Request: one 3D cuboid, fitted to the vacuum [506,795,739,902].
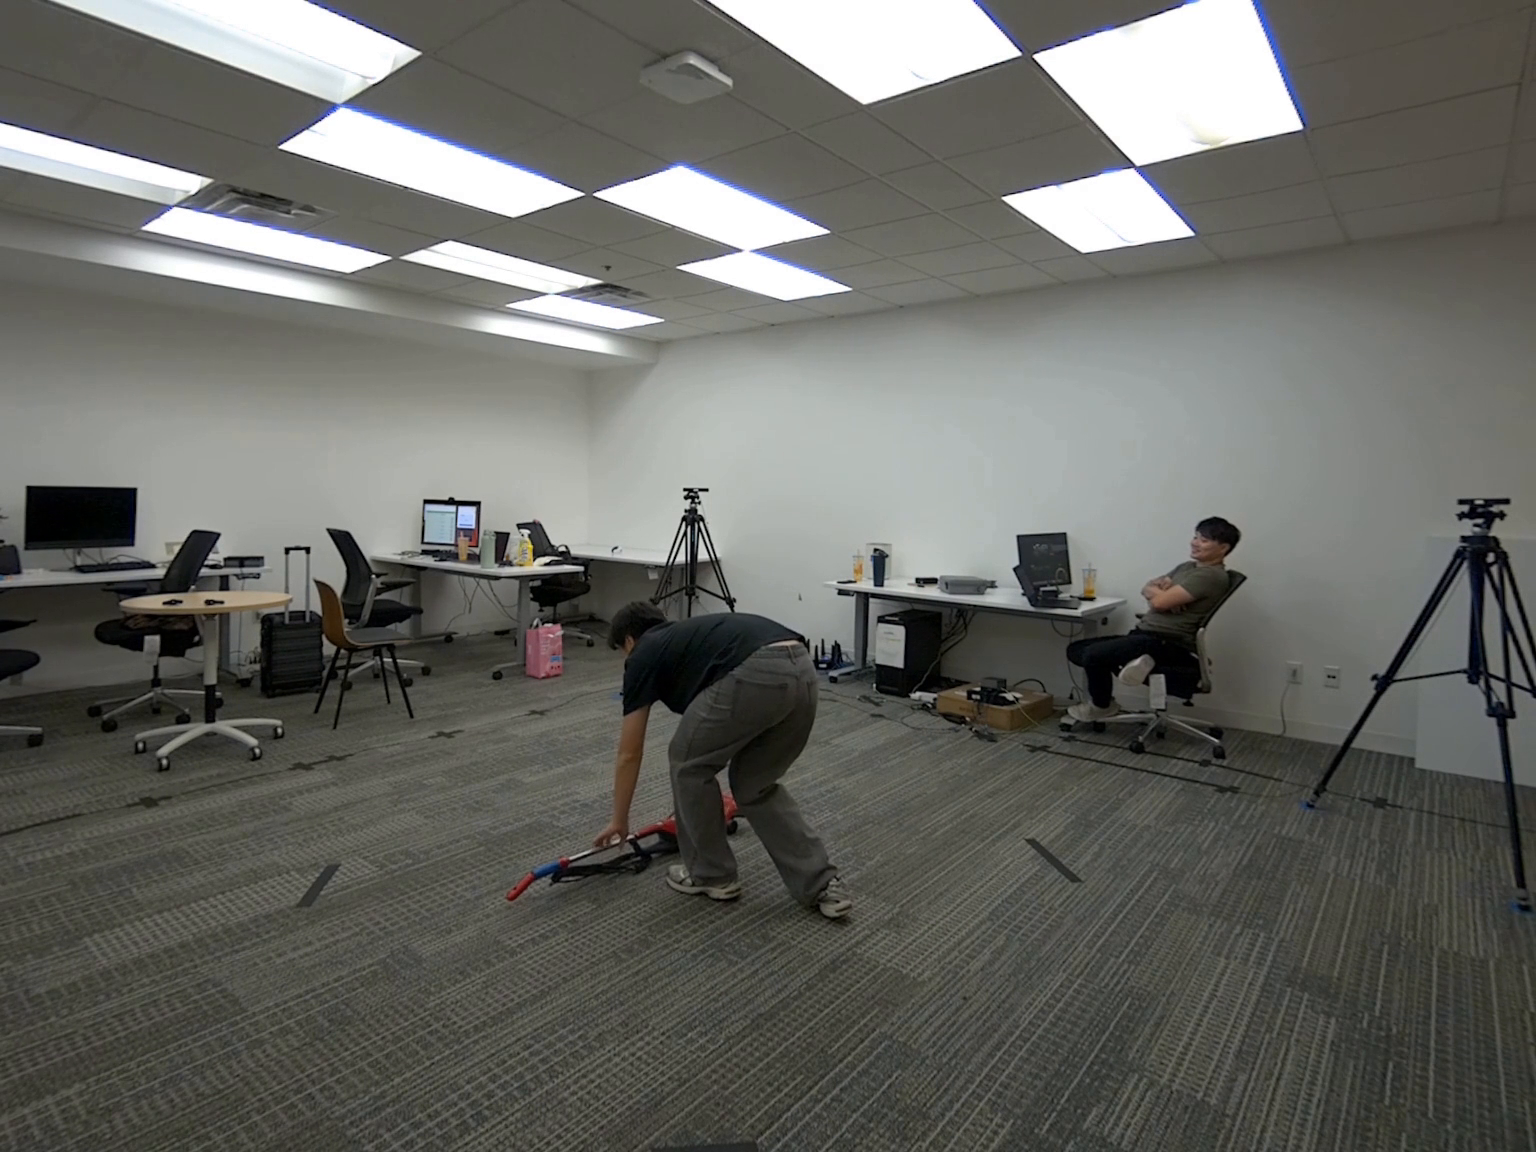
[{"bbox_3d":[-0.506,0.998,3.129,0.261,0.143,1.018,8,9,41],"label":"vacuum"}]
